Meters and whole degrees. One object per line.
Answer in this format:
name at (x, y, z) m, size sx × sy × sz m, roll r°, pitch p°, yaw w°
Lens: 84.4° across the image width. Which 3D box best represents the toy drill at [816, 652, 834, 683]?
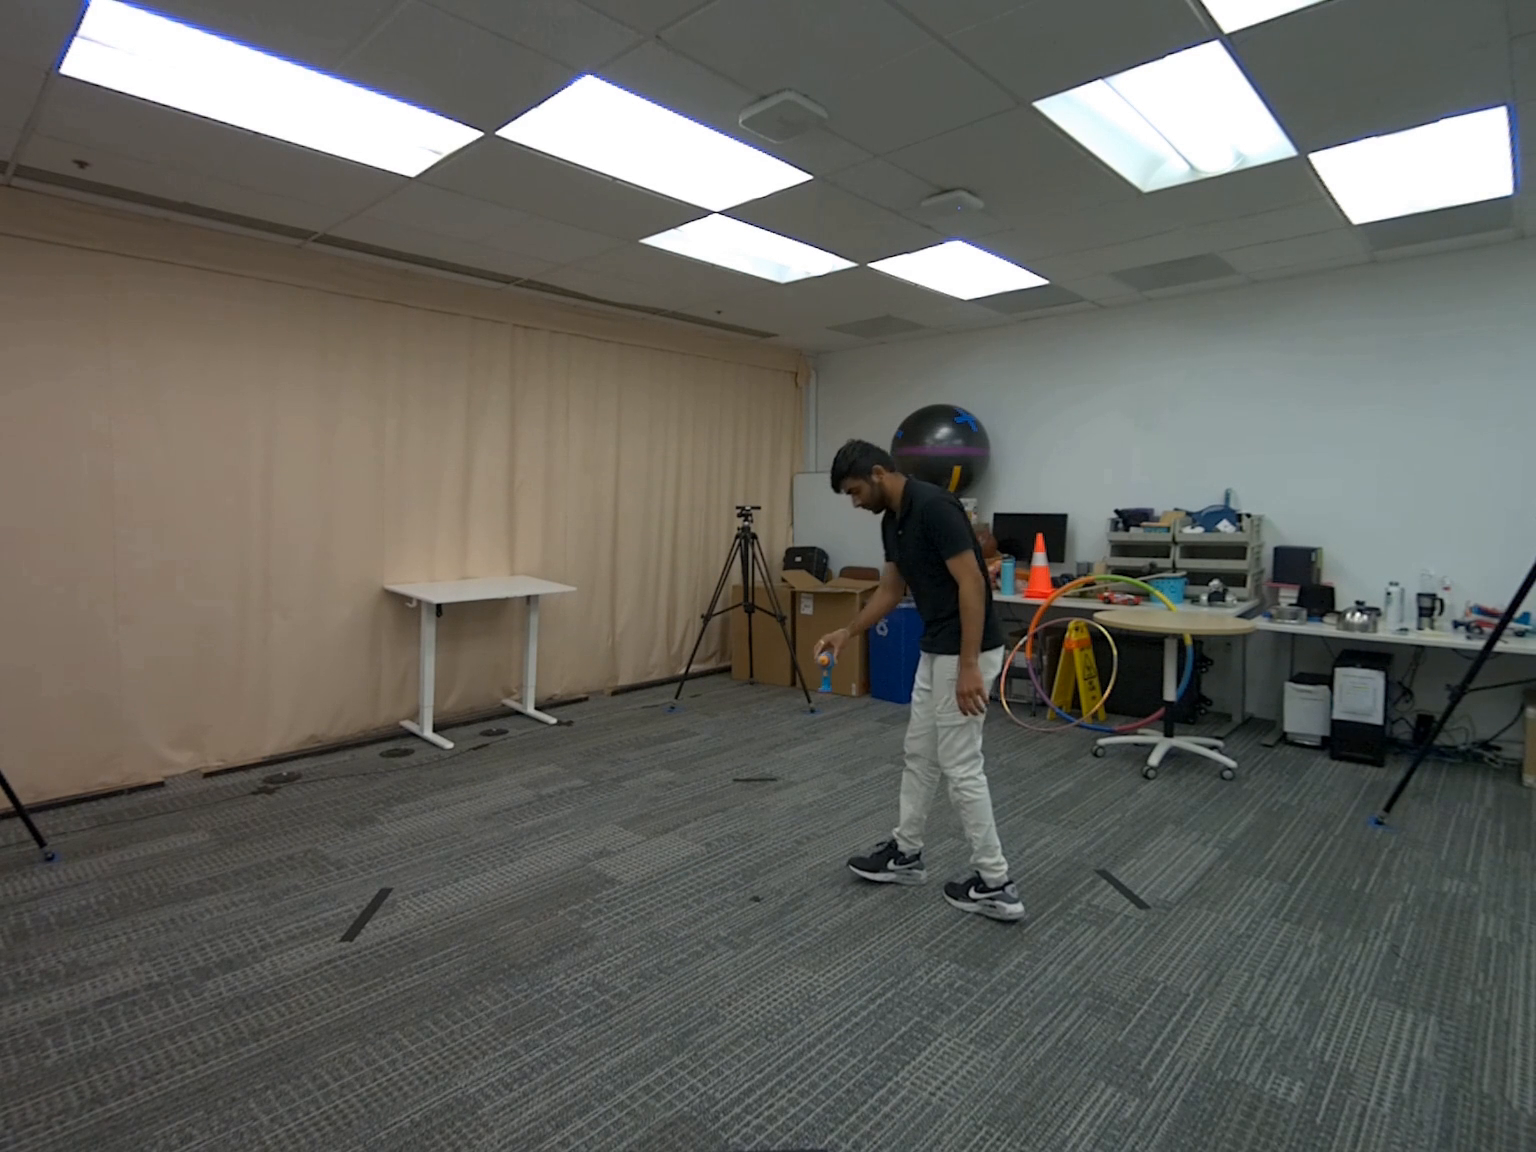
toy drill at (0.253, 0.272, 3.023) m, size 0.062 × 0.147 × 0.165 m, roll 1°, pitch -10°, yaw 17°
